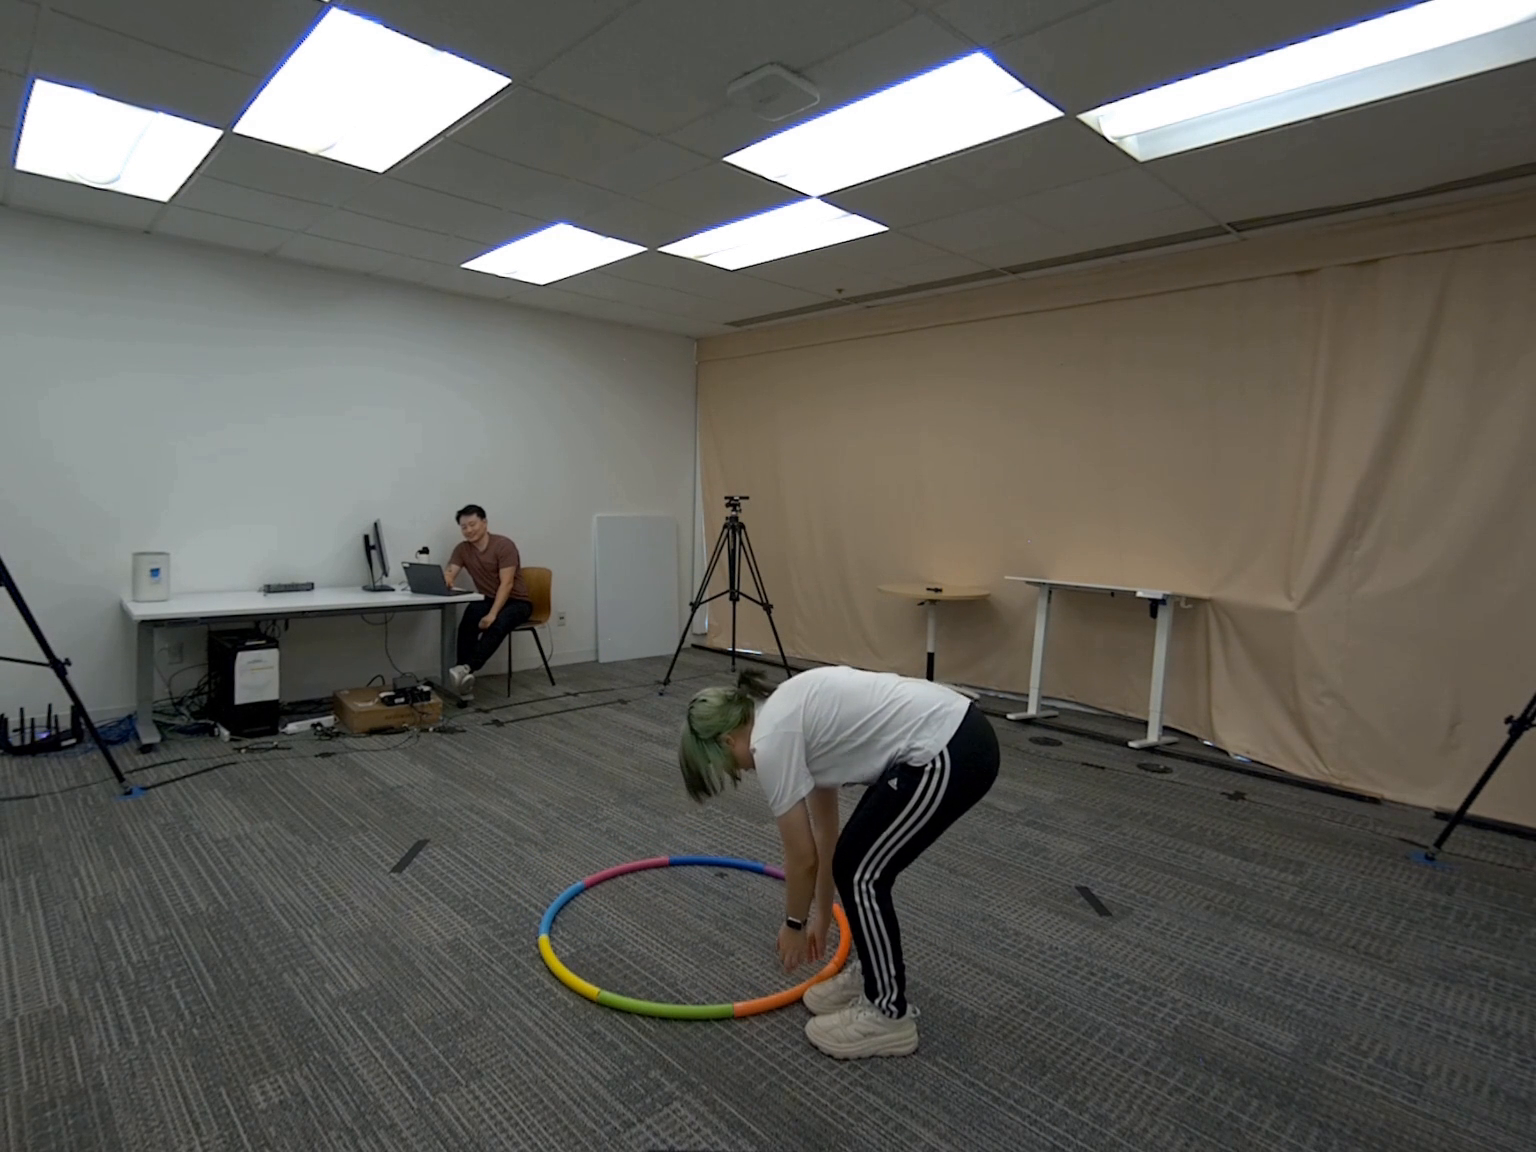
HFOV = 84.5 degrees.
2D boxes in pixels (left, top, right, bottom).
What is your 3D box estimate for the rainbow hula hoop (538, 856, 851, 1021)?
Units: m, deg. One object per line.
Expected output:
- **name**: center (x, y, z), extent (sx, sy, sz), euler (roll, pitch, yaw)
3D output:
- **rainbow hula hoop**: center (-0.236, 1.108, 2.717), extent (0.978, 0.035, 0.982), euler (1, 5, -1)
